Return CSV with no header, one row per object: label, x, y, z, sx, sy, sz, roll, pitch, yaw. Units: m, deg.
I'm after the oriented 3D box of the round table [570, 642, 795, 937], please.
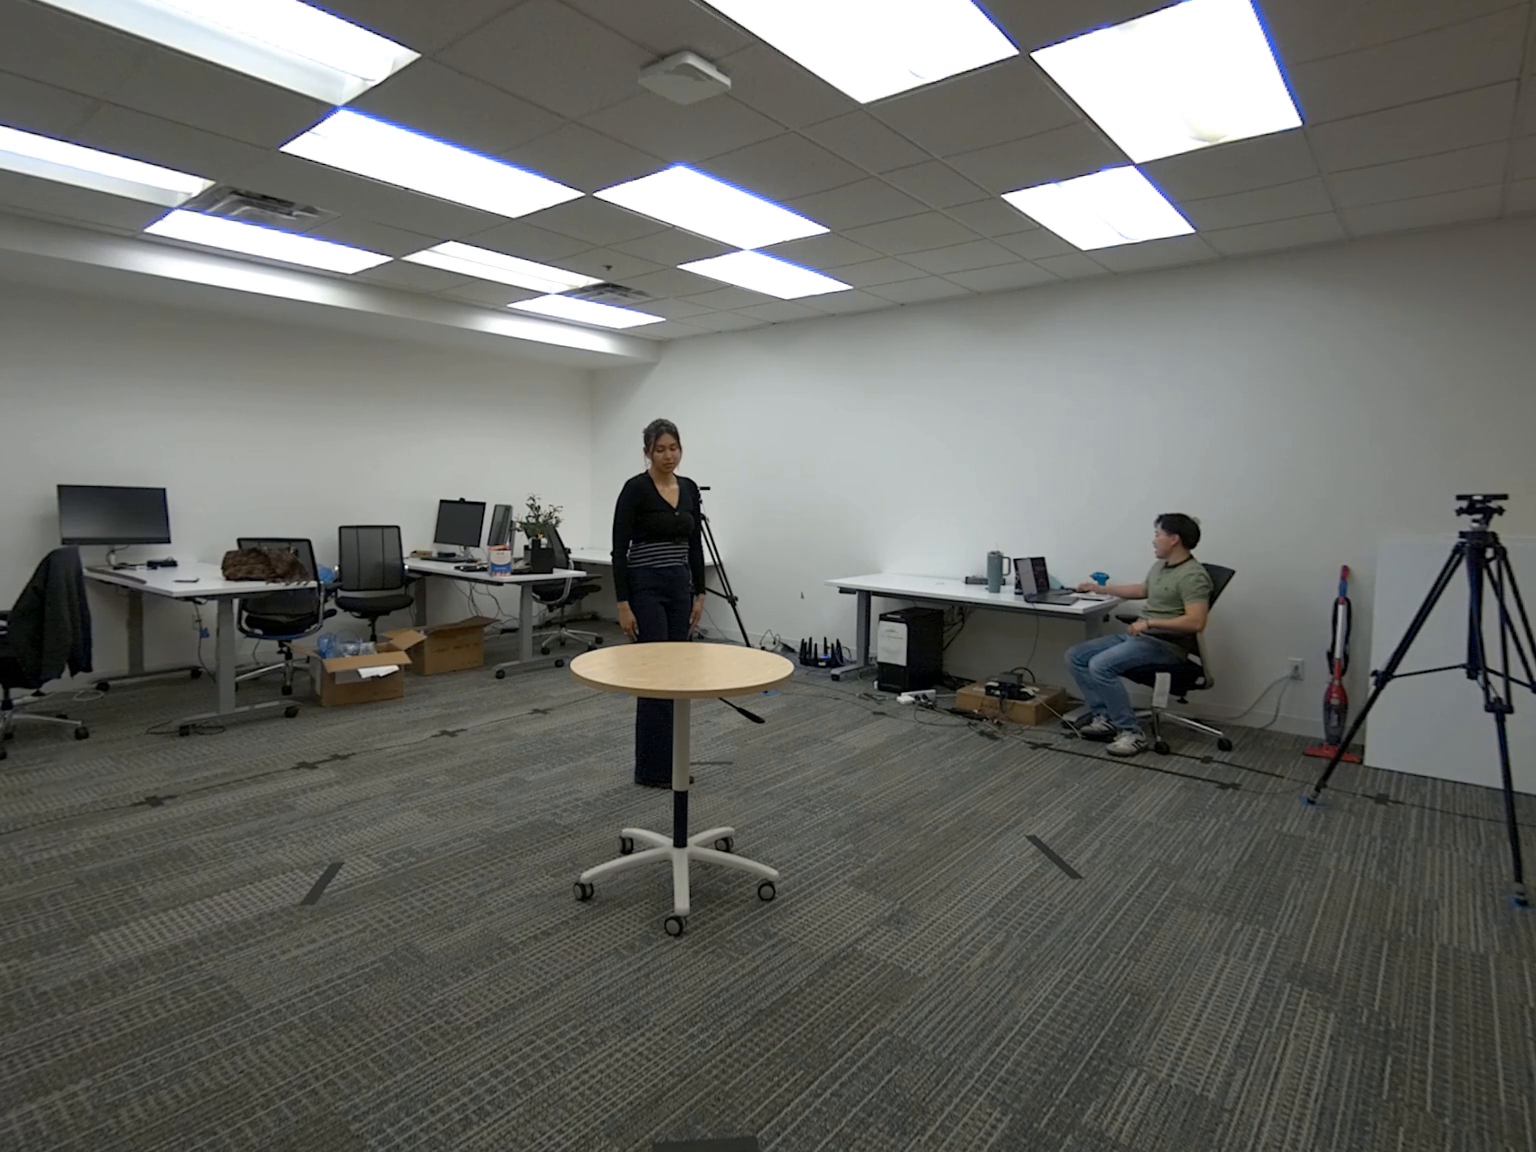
round table,-0.312,0.690,2.957,0.763,0.791,0.768,1,4,-2
